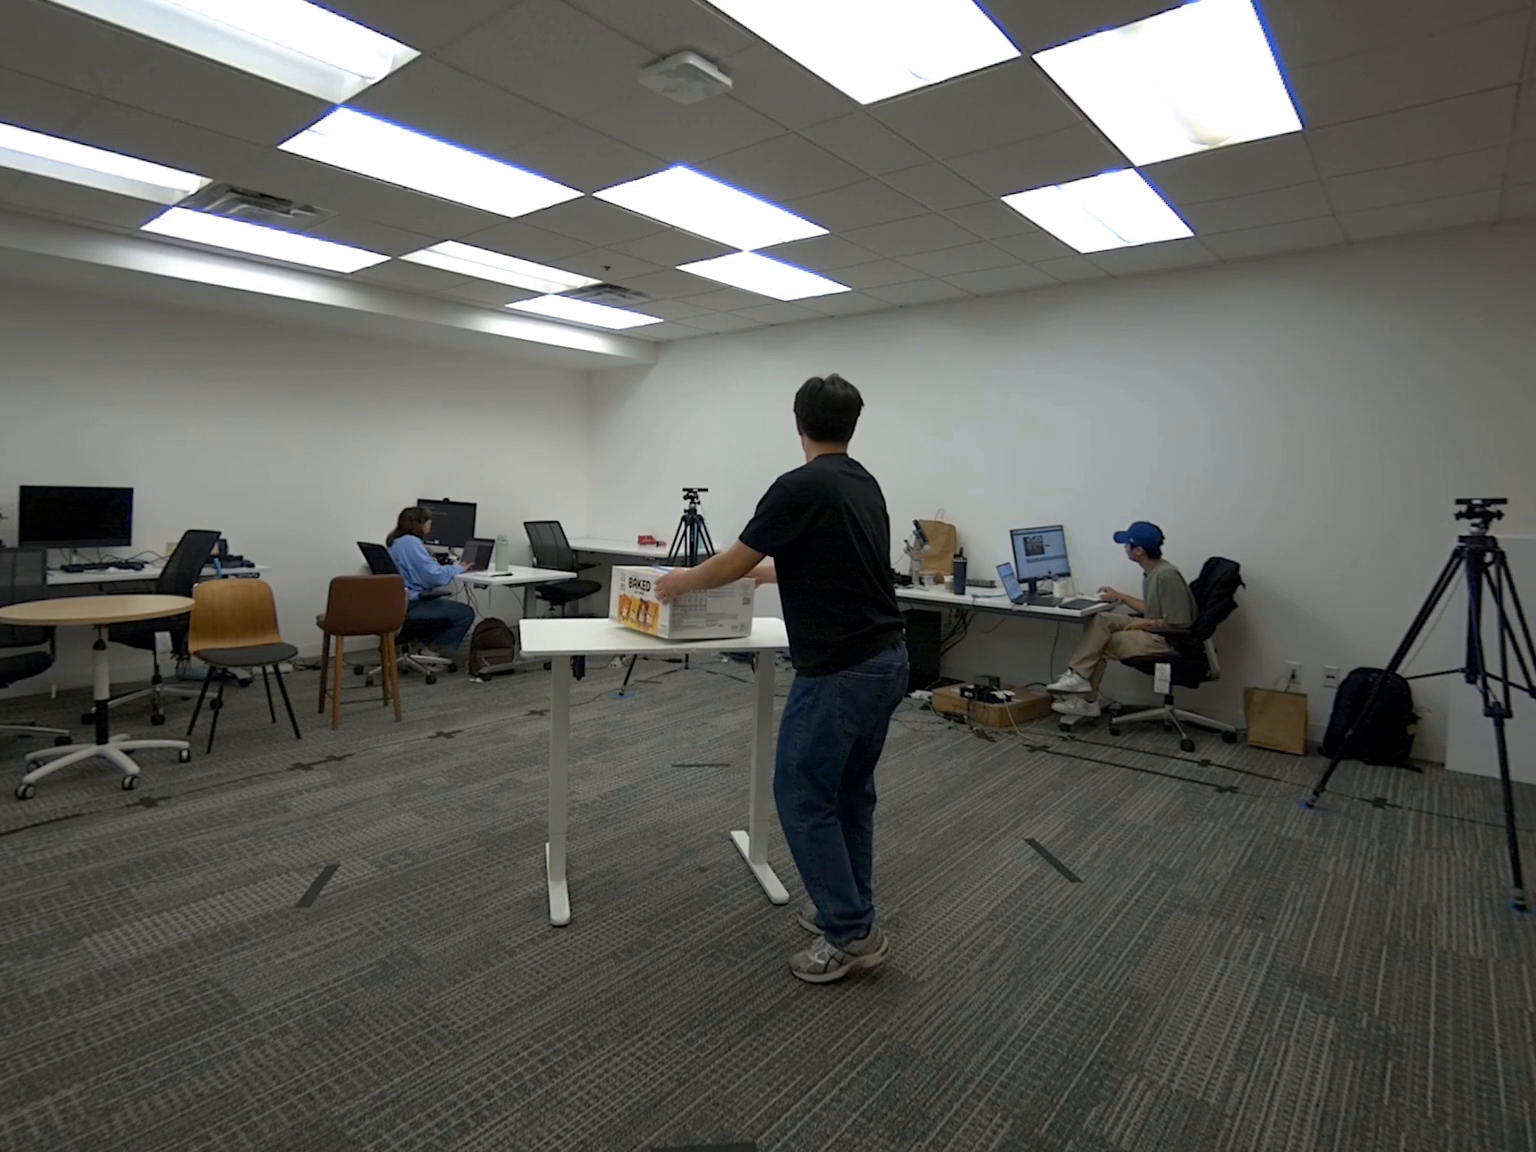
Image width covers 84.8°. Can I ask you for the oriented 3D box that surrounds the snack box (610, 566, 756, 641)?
[{"bbox_3d":[-0.320,0.083,2.991,0.330,0.205,0.419,1,5,-37],"label":"snack box"}]
